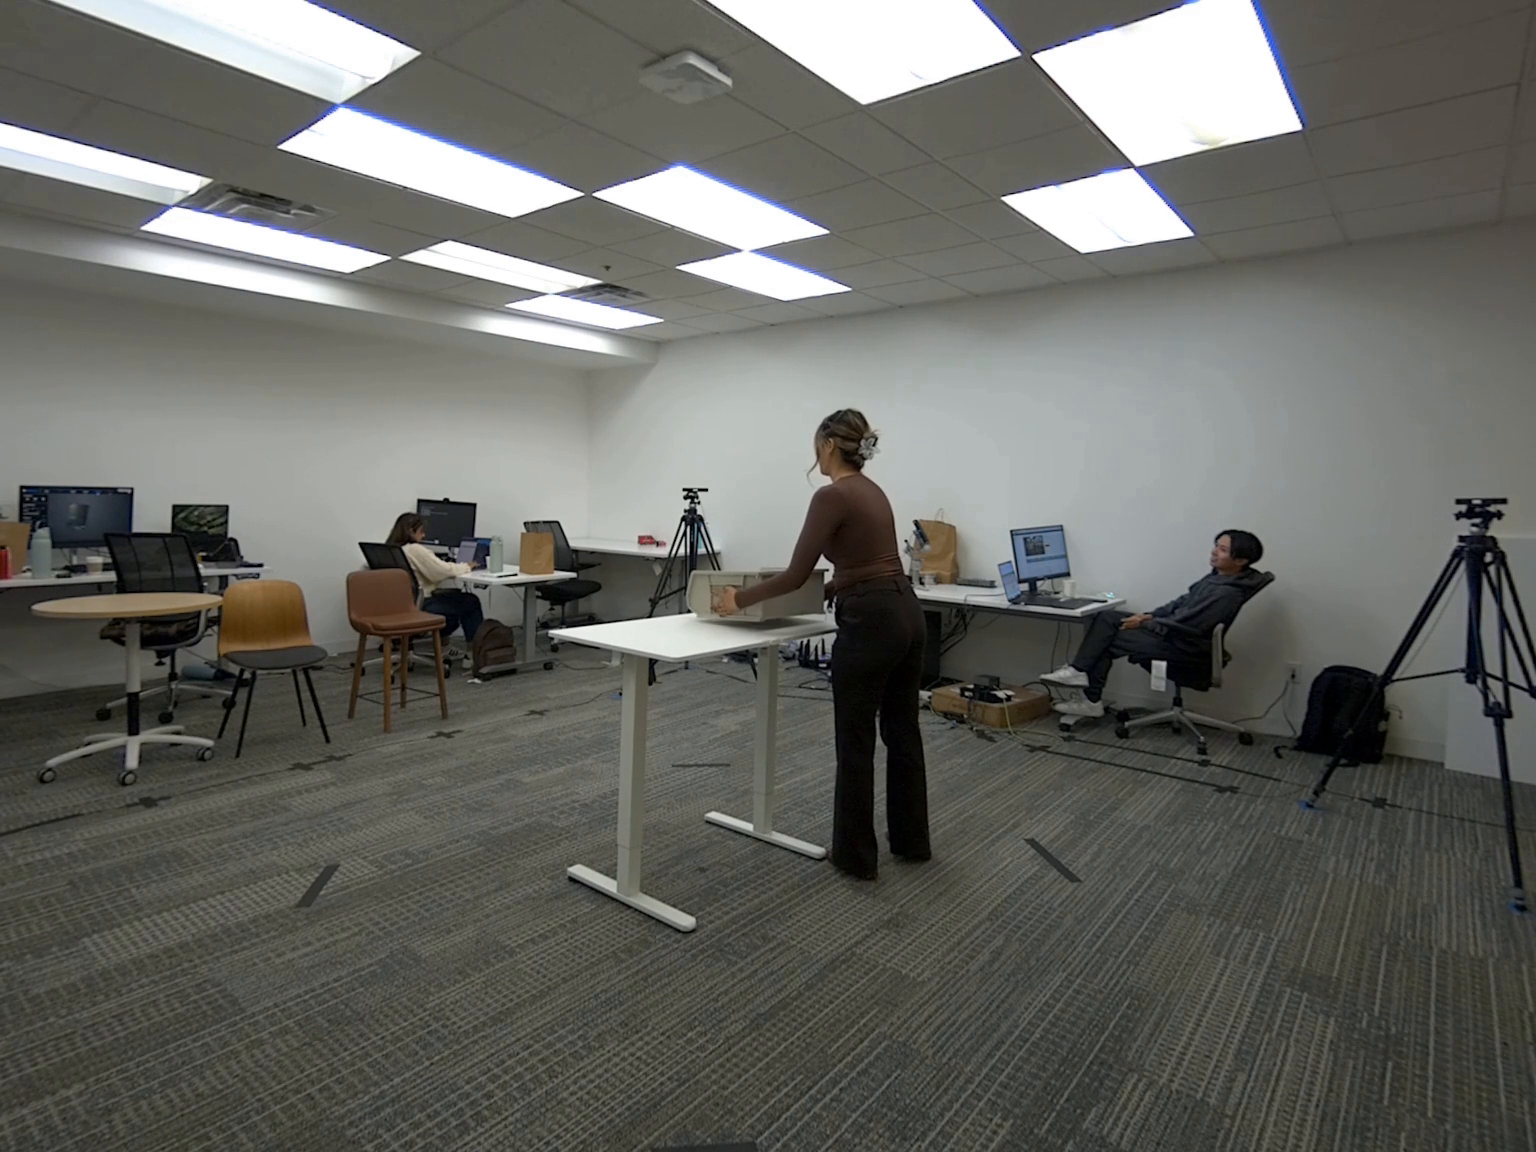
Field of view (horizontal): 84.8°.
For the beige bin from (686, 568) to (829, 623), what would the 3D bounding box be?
[{"bbox_3d":[-0.051,0.062,3.308,0.389,0.189,0.409,2,3,40],"label":"beige bin"}]
